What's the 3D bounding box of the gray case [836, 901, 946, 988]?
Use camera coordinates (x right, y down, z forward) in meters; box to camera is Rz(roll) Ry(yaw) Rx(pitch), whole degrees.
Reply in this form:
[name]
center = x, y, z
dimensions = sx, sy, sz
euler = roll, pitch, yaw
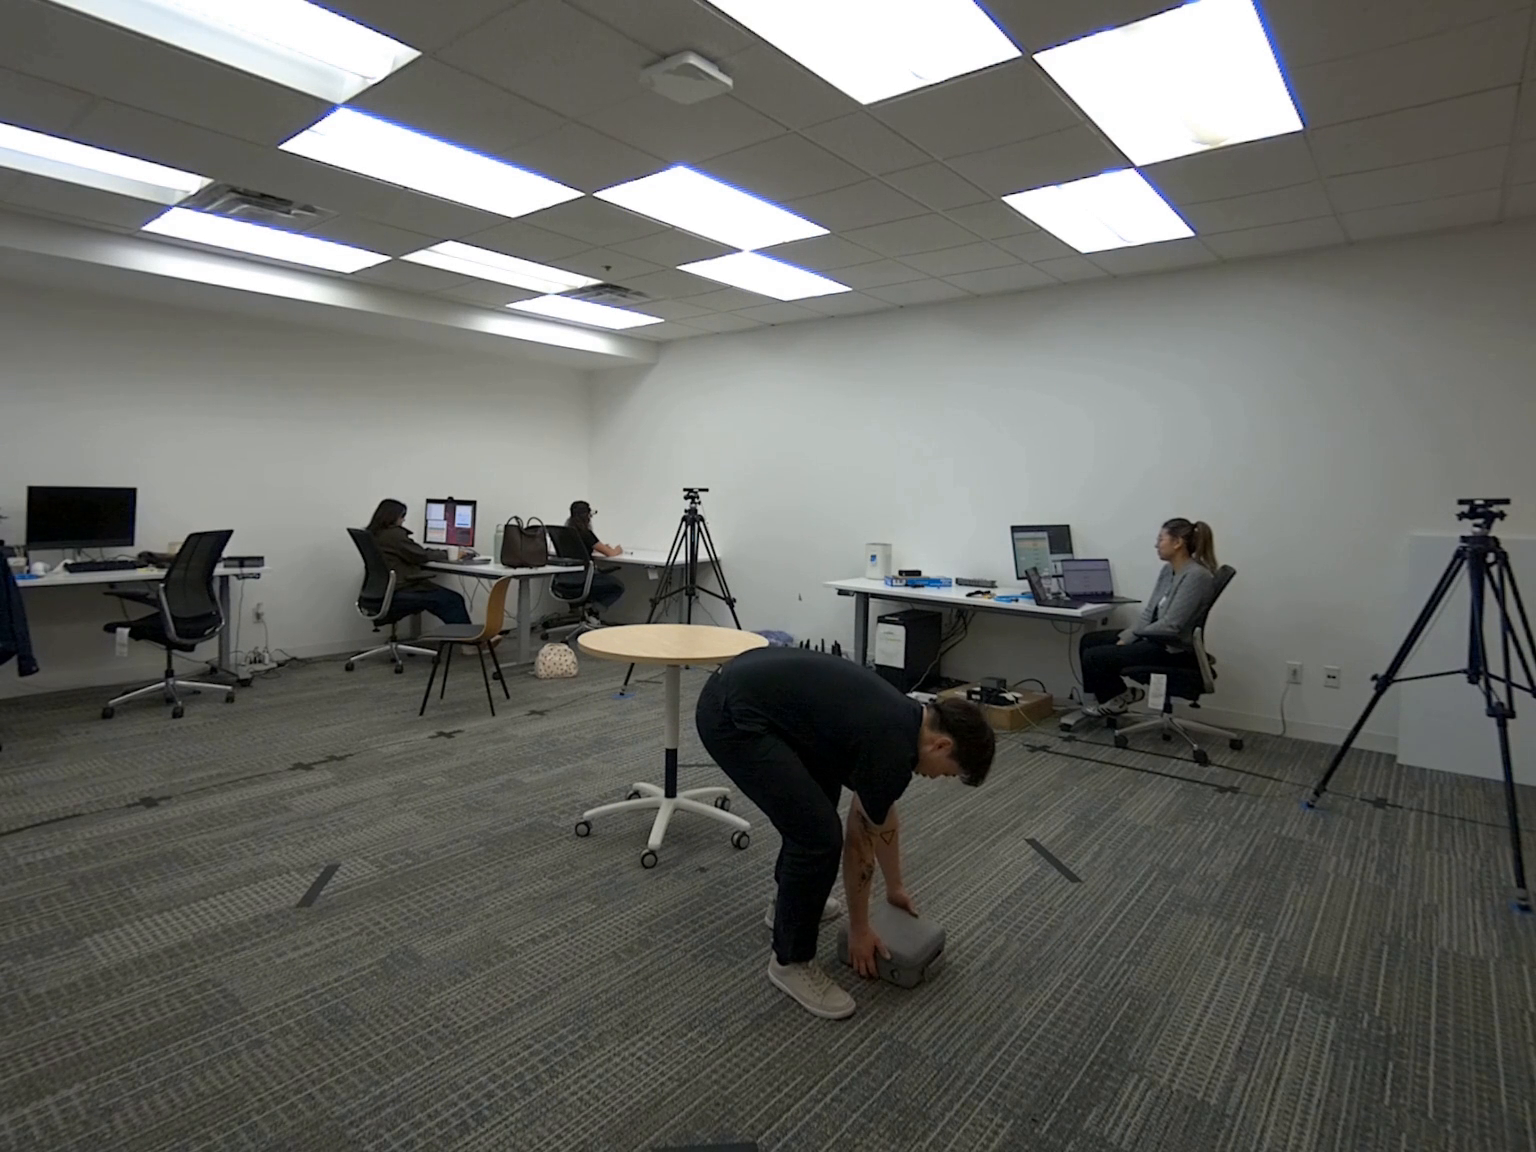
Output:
[gray case]
center = 0.368, 1.088, 2.531
dimensions = 0.270, 0.104, 0.249
euler = 8, 6, 37
